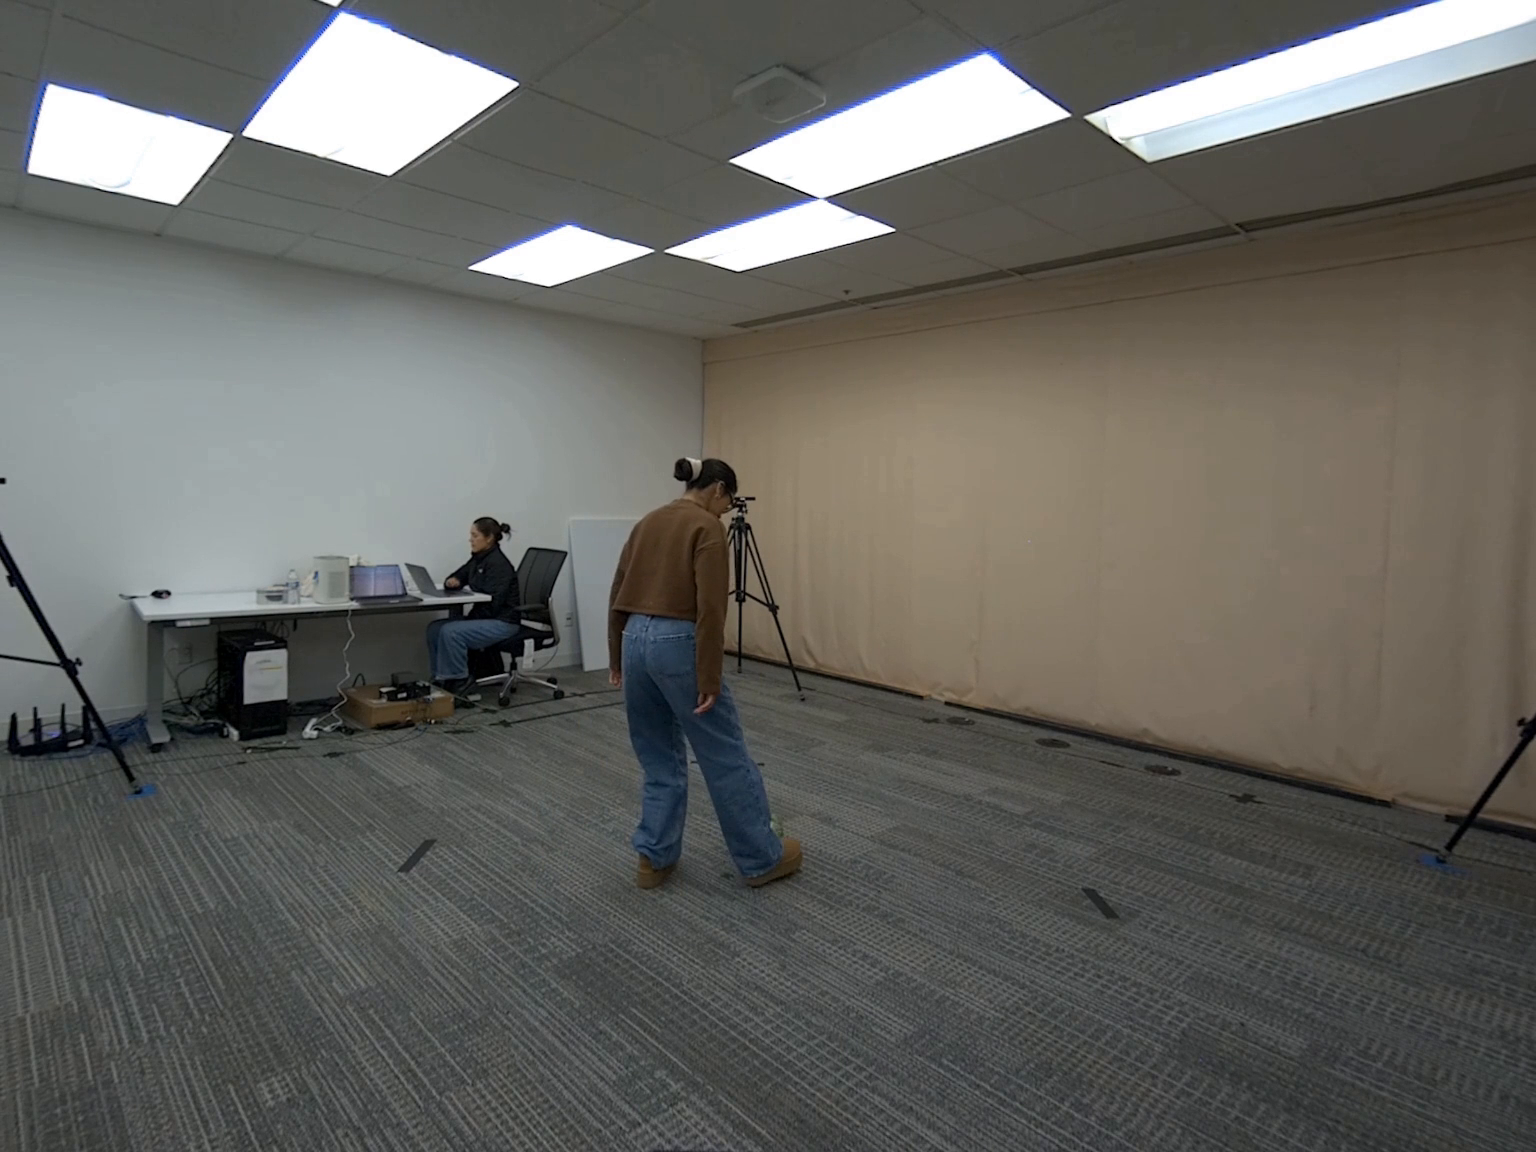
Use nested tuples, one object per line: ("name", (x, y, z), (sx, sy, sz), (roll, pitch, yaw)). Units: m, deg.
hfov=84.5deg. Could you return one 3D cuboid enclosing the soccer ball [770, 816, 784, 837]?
("soccer ball", (-0.035, 1.008, 3.254), (0.187, 0.187, 0.188), (1, 4, -1))
